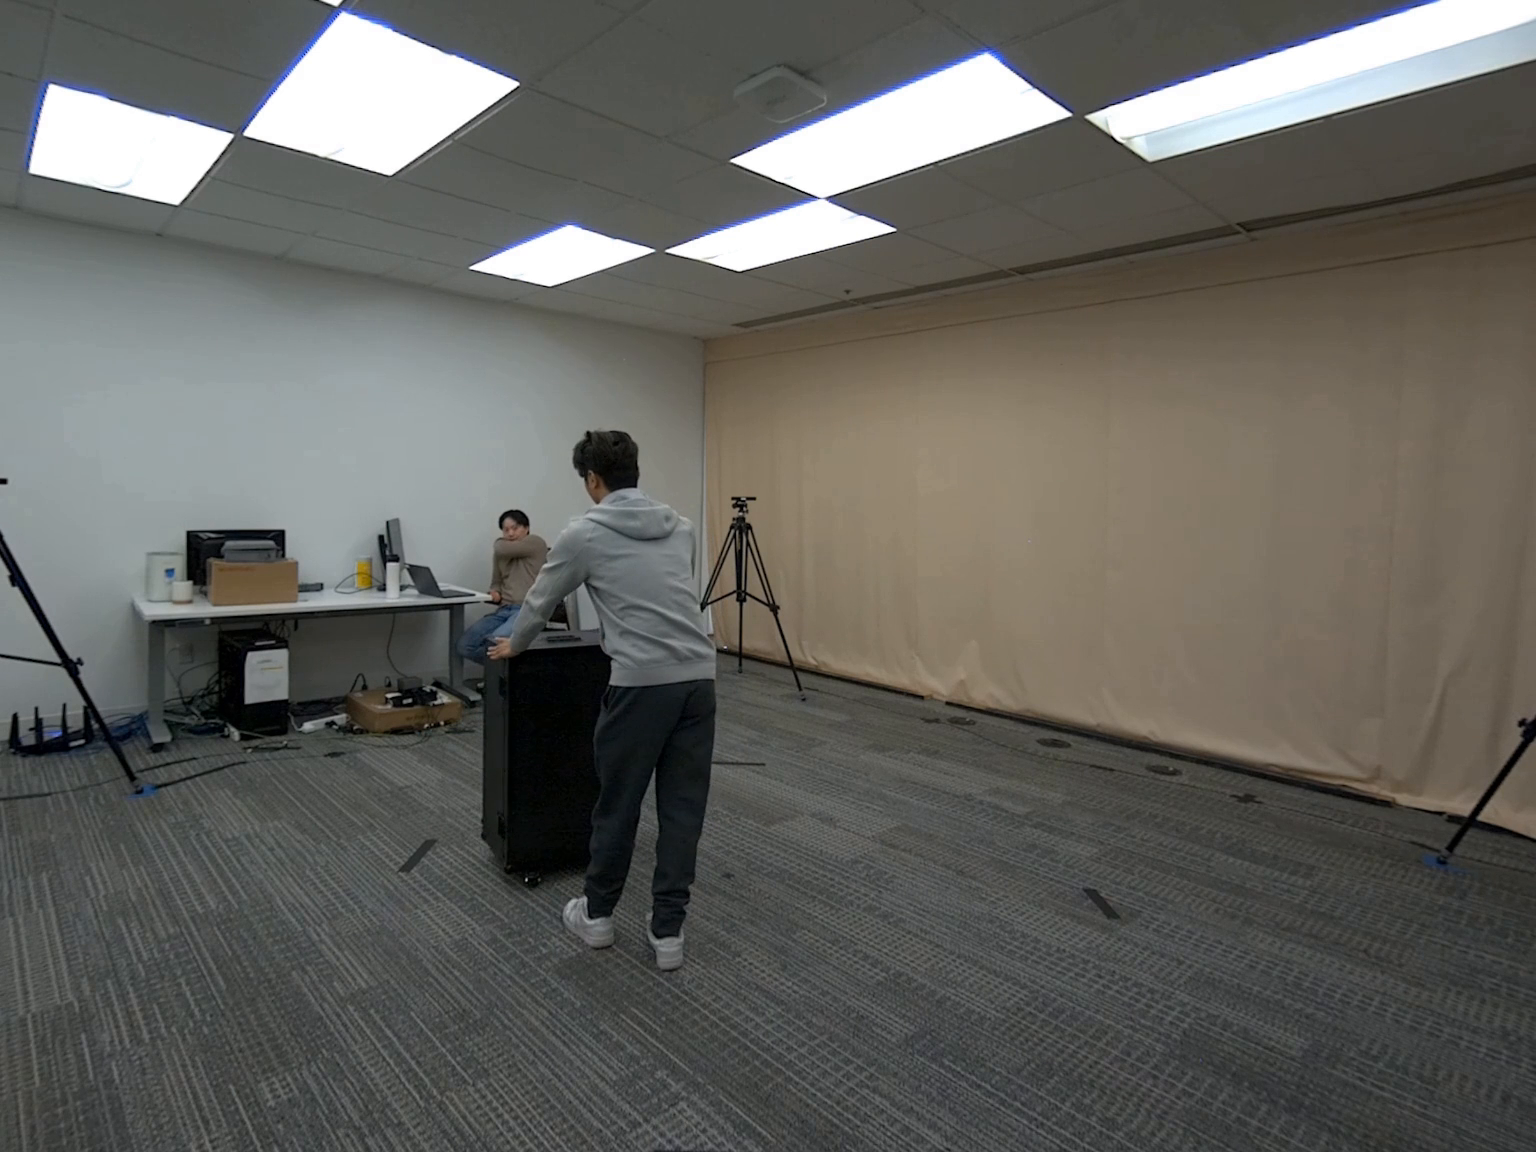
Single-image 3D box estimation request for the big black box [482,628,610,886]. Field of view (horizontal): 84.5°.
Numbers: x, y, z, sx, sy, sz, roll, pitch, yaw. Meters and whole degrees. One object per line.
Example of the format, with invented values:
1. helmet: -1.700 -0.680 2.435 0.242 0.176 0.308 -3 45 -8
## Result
1. big black box: -0.816 0.665 3.187 0.510 0.860 0.405 -1 2 -32
